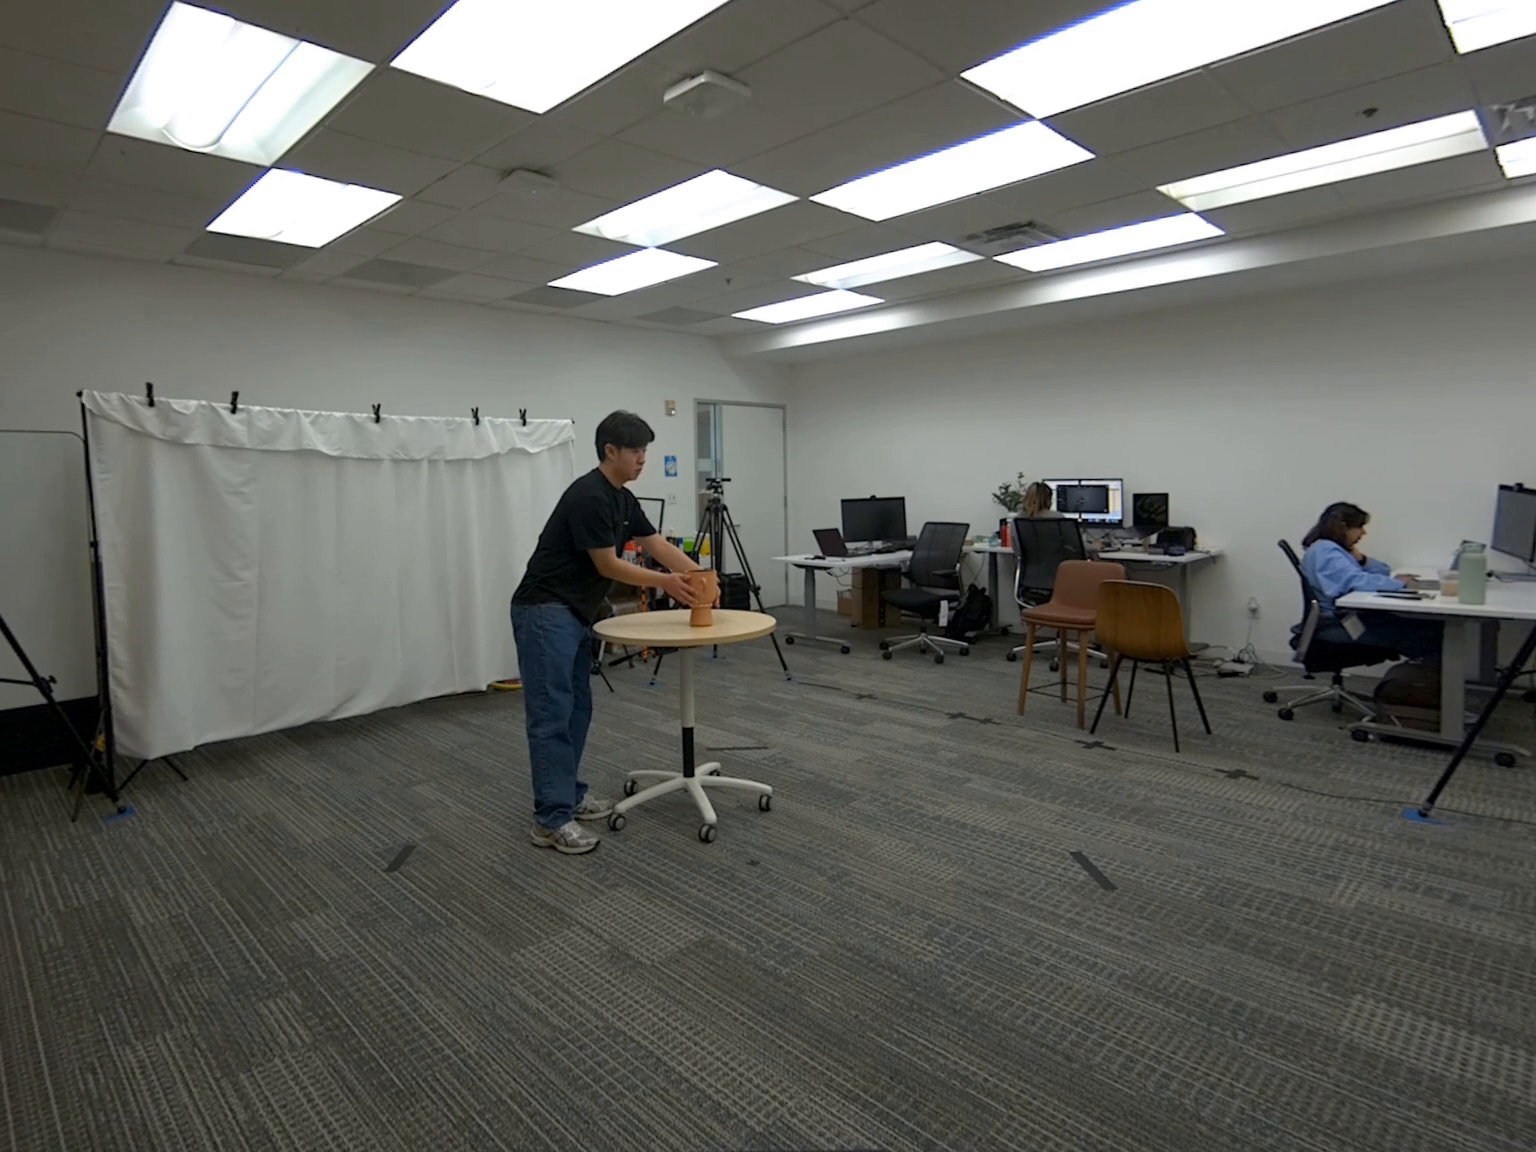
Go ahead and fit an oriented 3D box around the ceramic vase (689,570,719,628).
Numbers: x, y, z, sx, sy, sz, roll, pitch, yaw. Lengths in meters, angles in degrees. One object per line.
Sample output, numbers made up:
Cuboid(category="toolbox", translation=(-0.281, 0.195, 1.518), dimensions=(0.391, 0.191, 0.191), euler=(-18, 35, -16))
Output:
Cuboid(category="ceramic vase", translation=(-0.277, 0.085, 3.502), dimensions=(0.137, 0.219, 0.156), euler=(1, 3, 23))
